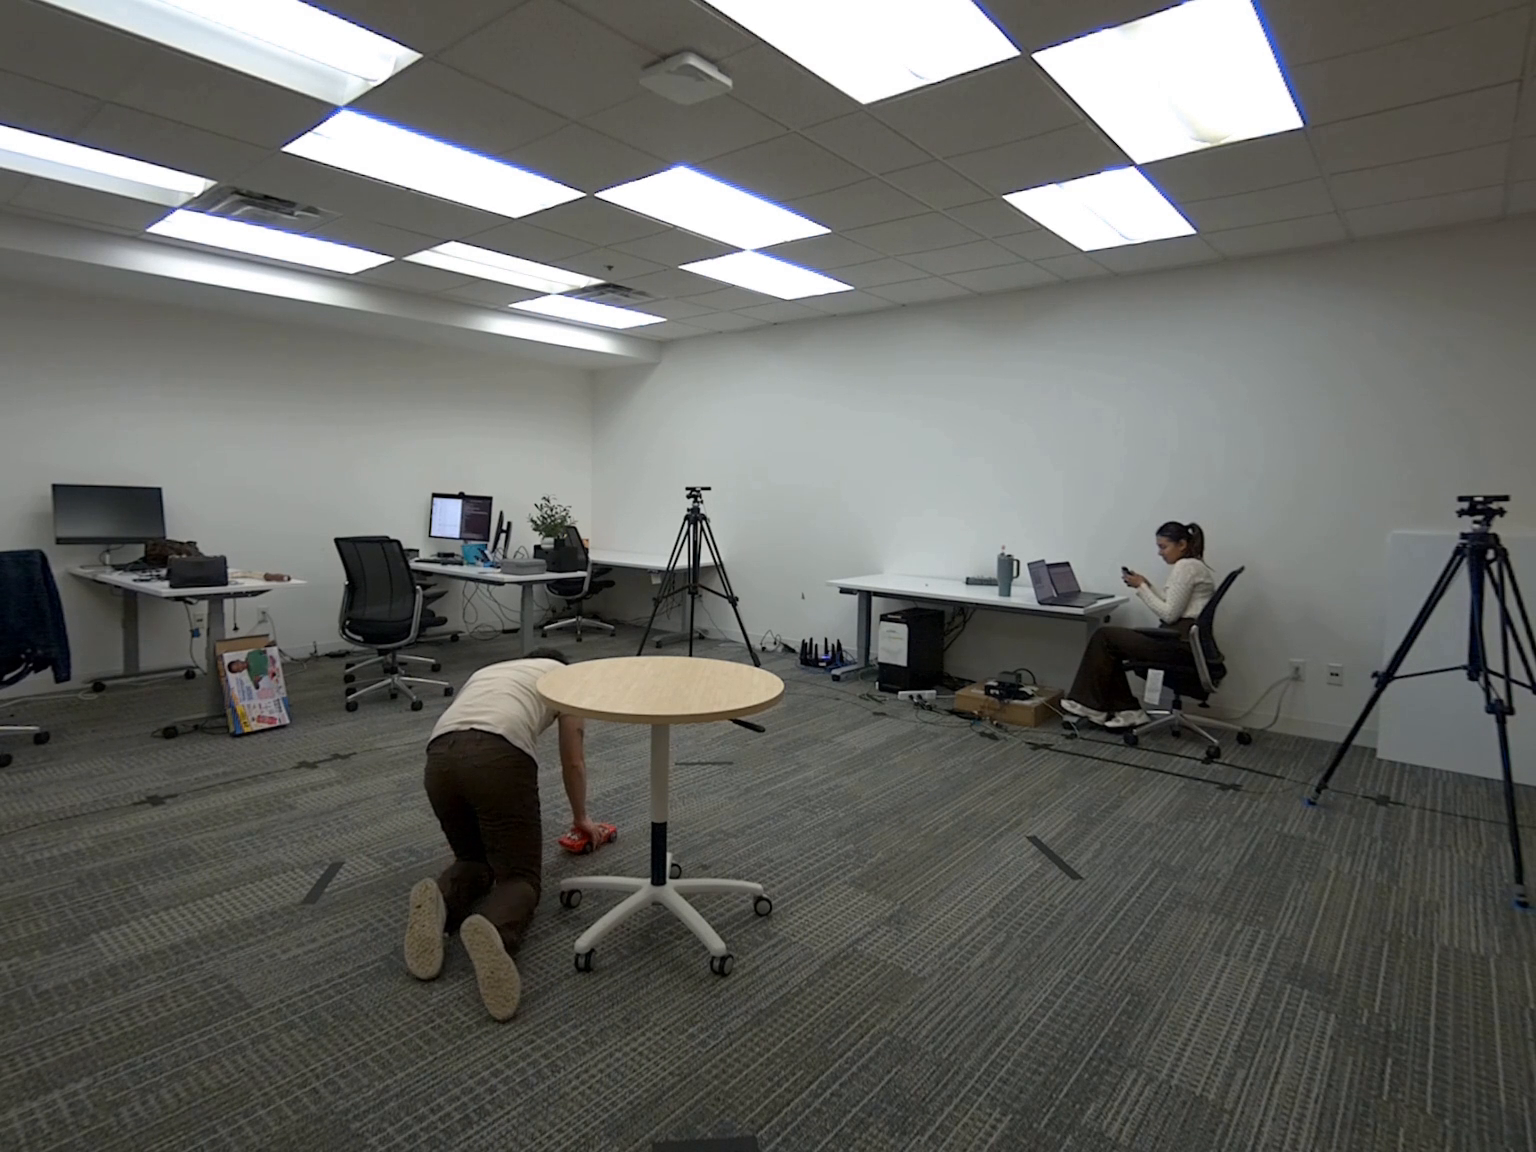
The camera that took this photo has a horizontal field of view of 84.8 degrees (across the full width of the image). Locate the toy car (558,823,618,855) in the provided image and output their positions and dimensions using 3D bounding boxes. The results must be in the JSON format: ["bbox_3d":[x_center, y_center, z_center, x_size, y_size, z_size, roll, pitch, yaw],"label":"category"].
[{"bbox_3d":[-0.717,1.009,3.286,0.134,0.083,0.245,4,-5,35],"label":"toy car"}]
